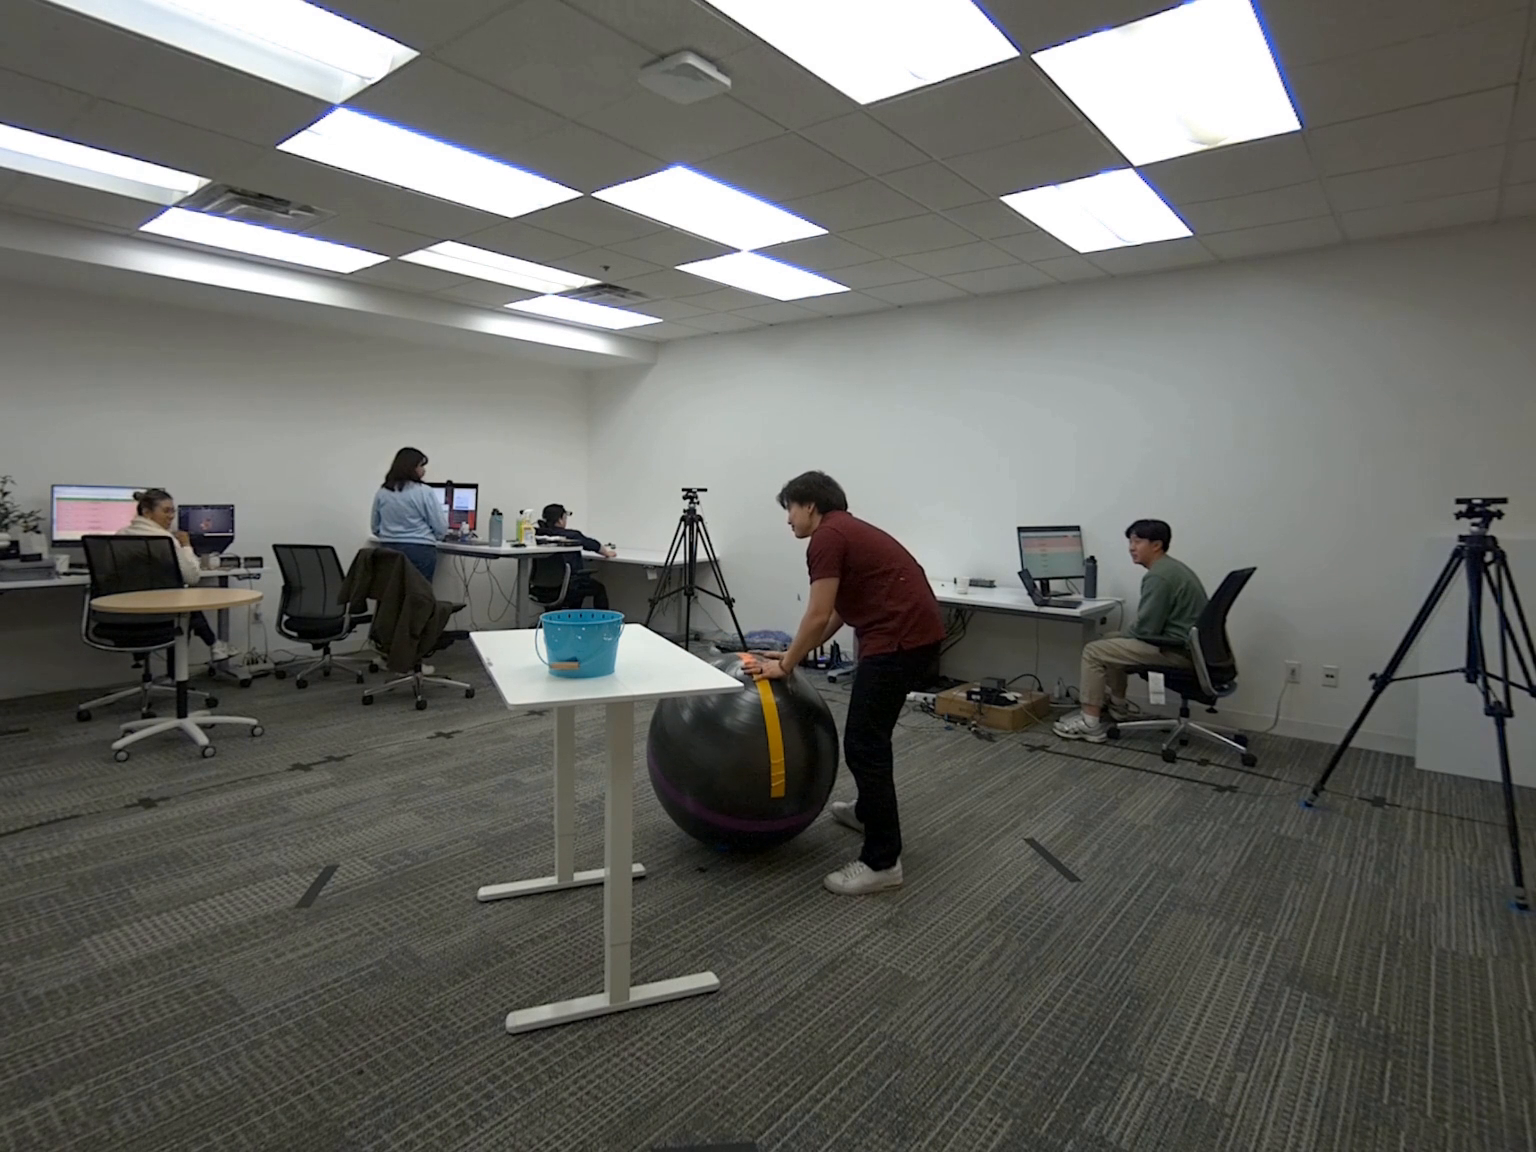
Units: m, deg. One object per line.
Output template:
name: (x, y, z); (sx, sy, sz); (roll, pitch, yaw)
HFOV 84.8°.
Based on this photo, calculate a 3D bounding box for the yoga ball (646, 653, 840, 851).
yoga ball: (-0.098, 0.685, 3.362); (0.757, 0.756, 0.762); (1, 4, -2)
